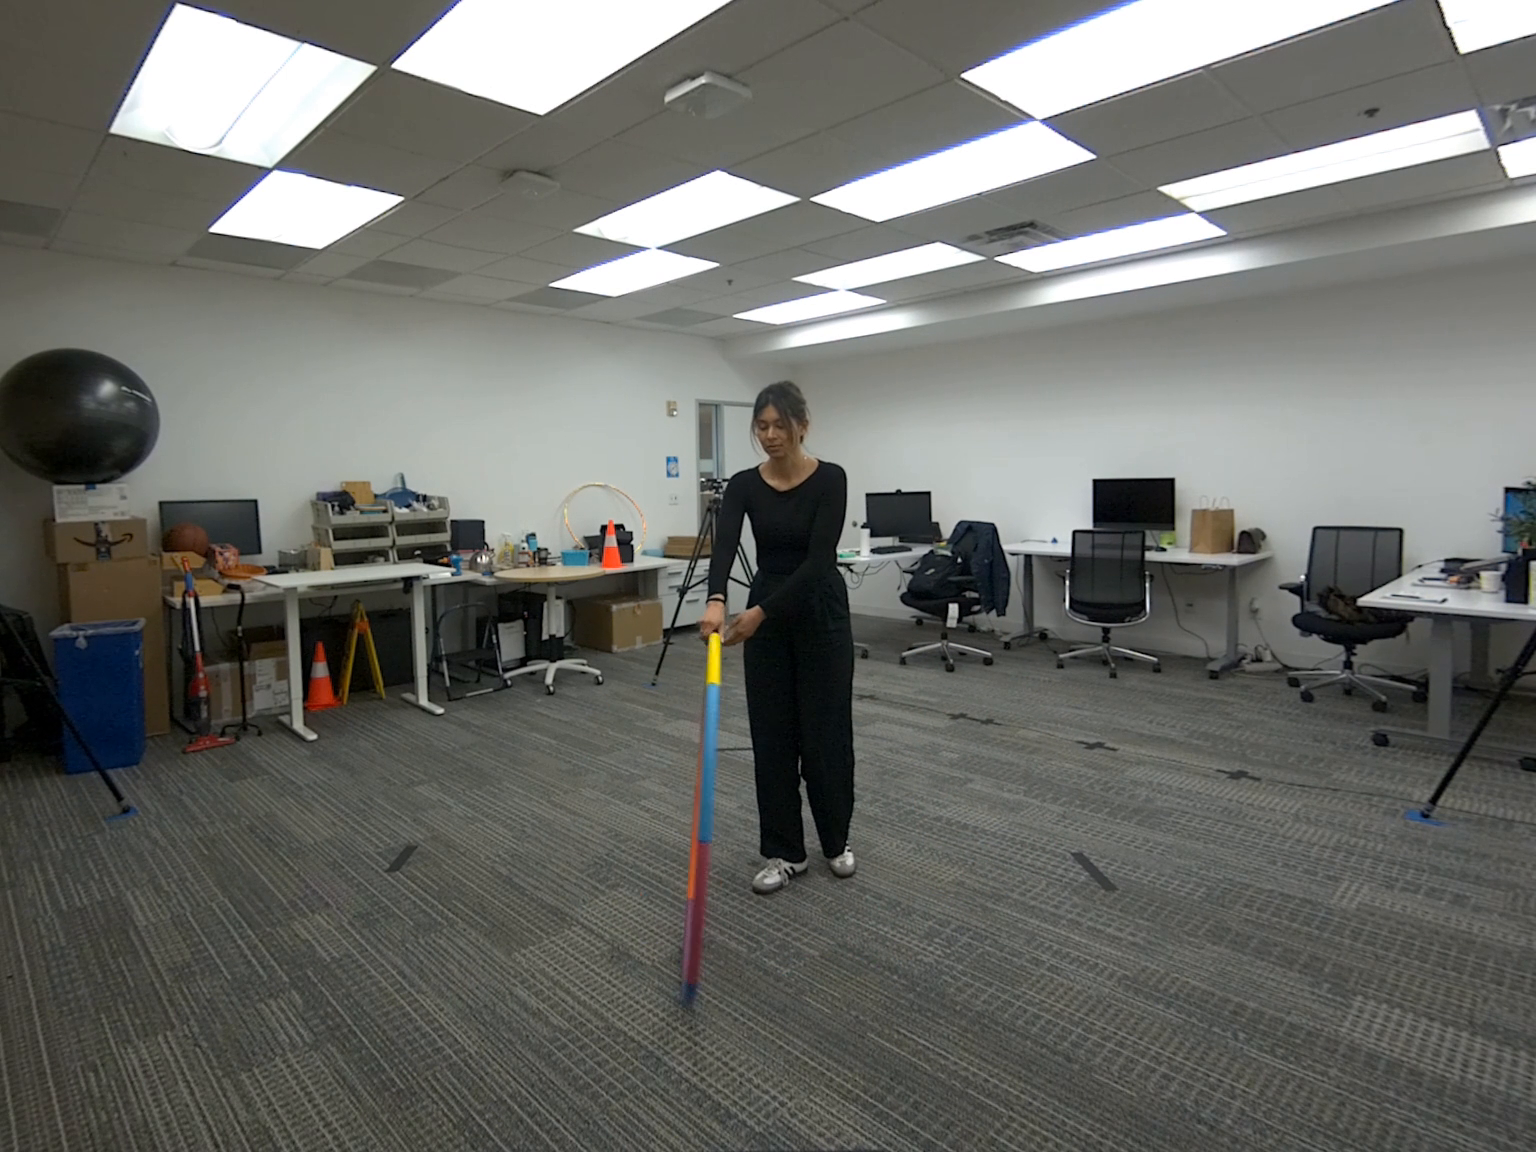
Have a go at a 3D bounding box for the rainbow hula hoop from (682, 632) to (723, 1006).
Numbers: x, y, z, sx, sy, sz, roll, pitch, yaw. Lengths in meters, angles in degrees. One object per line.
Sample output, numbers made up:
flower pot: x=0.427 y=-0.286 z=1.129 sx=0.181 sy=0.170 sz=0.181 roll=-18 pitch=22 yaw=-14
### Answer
rainbow hula hoop: x=-0.177 y=0.651 z=2.400 sx=0.035 sy=0.976 sz=0.984 roll=6 pitch=4 yaw=-4
